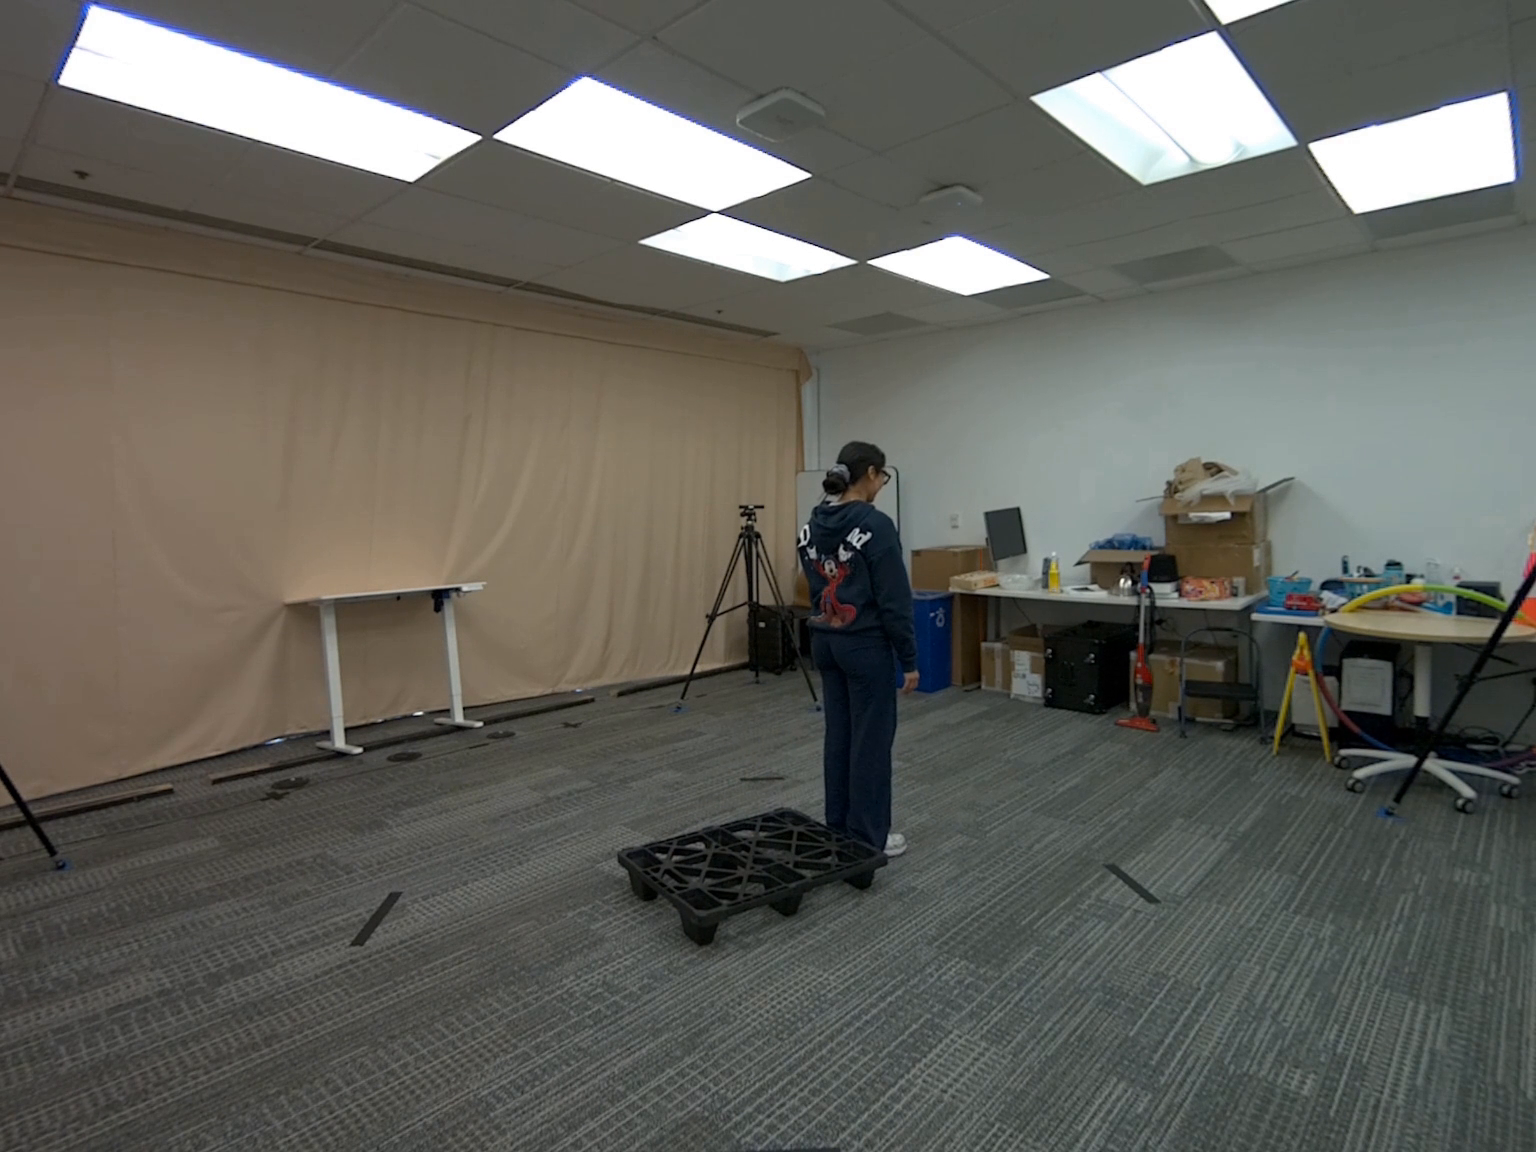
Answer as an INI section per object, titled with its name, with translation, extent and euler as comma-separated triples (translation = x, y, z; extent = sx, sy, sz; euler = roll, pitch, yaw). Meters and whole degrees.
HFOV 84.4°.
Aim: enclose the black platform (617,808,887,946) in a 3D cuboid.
[black platform]
translation = -0.065, 1.071, 3.047
extent = 0.783, 0.143, 0.624
euler = -4, 5, -34
